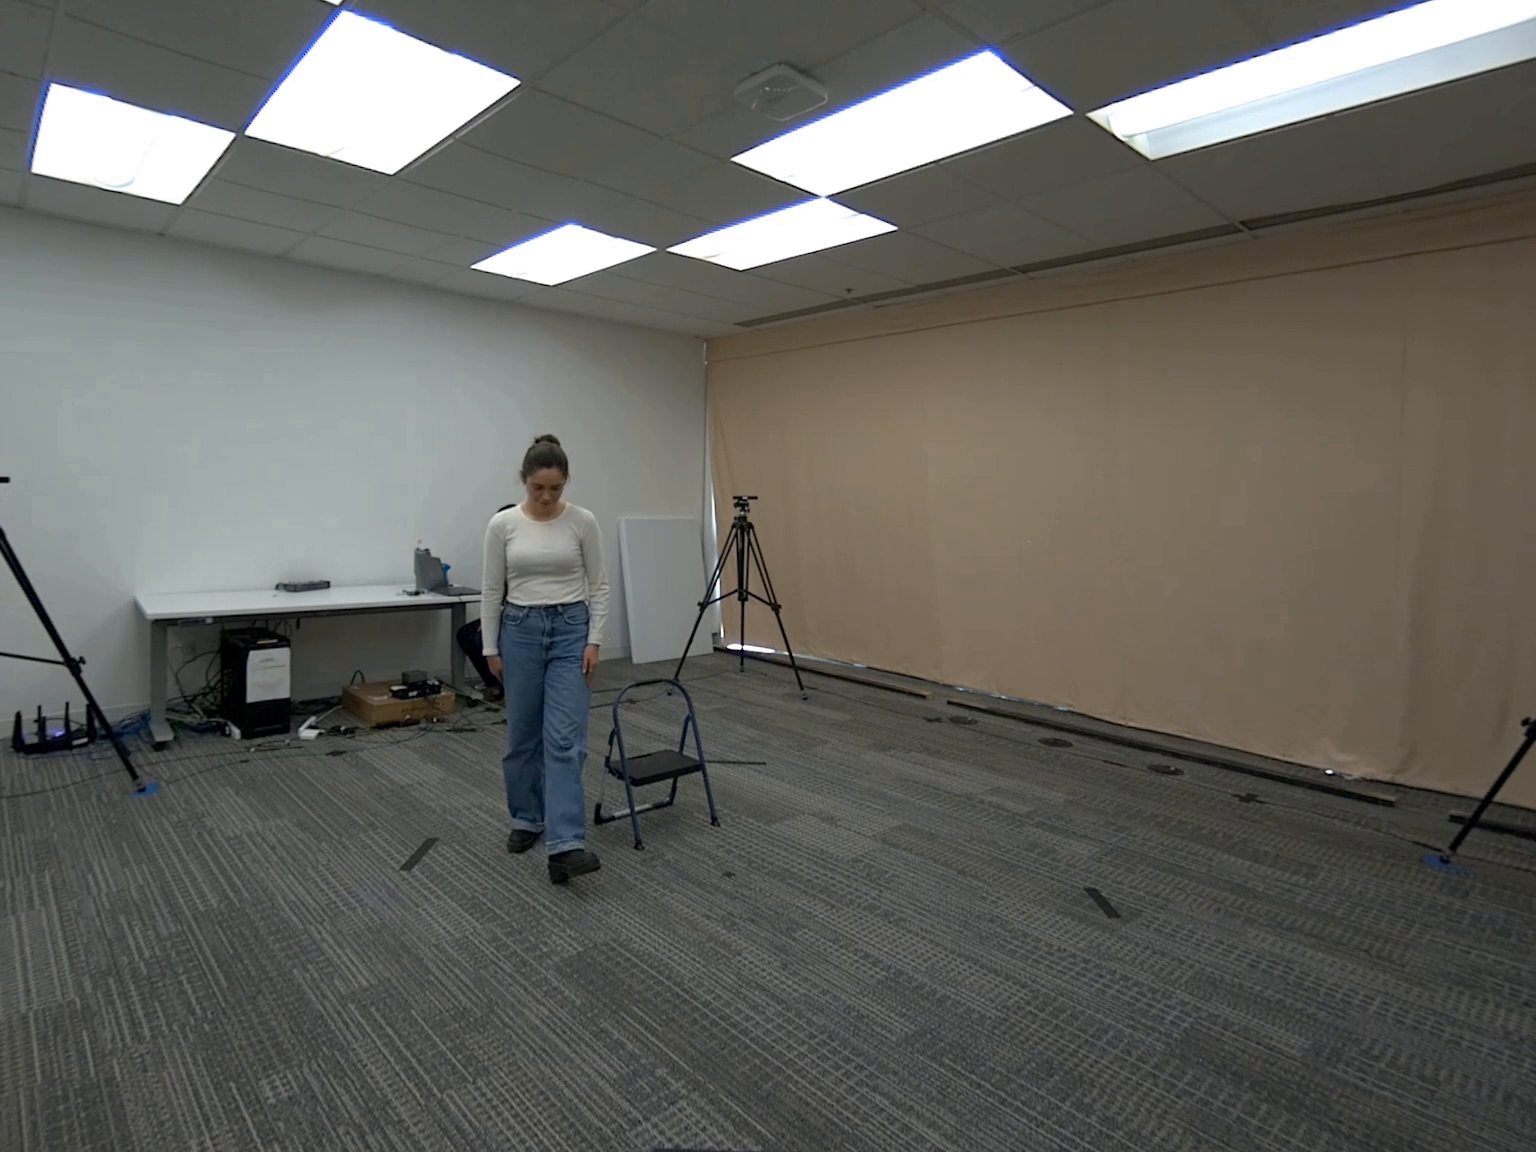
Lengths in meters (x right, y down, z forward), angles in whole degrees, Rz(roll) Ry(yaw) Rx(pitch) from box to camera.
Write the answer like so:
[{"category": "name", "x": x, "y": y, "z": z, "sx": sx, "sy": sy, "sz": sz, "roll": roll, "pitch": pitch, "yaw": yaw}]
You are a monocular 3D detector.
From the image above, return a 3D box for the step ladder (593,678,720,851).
[{"category": "step ladder", "x": -0.469, "y": 0.753, "z": 3.552, "sx": 0.420, "sy": 0.605, "sz": 0.358, "roll": -1, "pitch": 4, "yaw": -44}]
